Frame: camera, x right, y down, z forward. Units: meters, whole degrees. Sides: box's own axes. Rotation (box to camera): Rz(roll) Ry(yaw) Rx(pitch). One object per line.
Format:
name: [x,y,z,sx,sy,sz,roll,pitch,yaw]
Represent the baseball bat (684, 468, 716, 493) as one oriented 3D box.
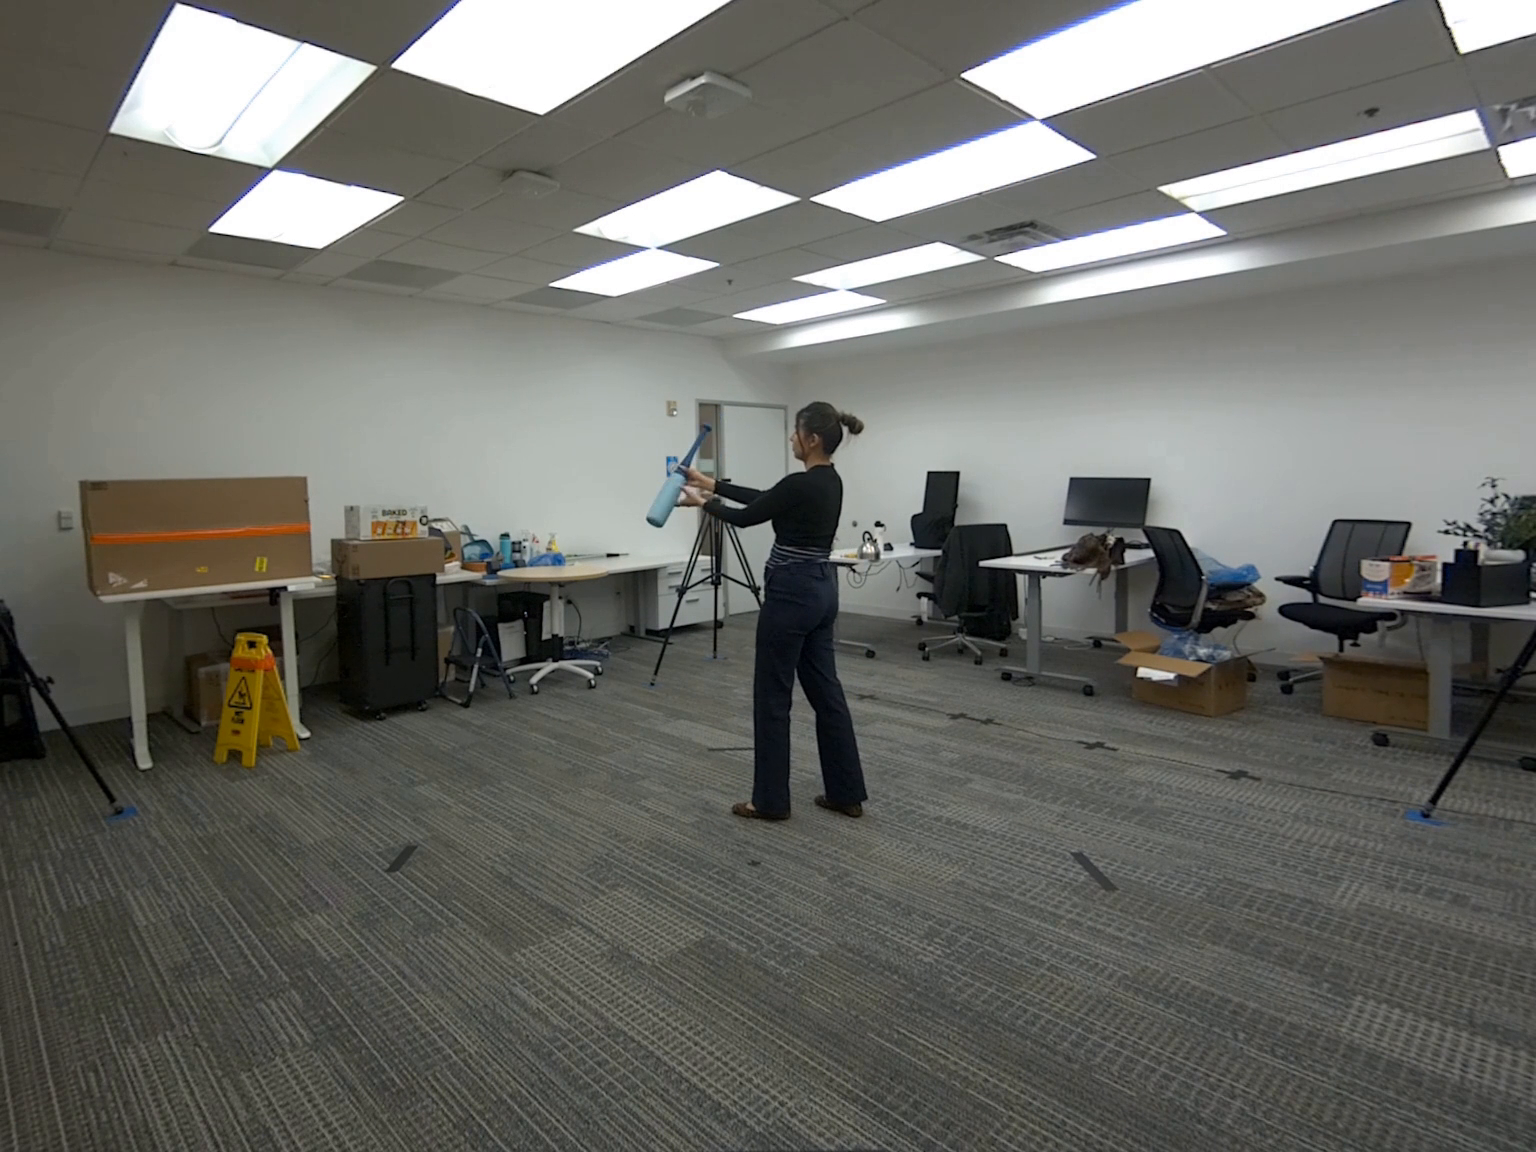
baseball bat: [-0.379,-0.458,3.789,0.090,0.547,0.087,21,-21,7]
